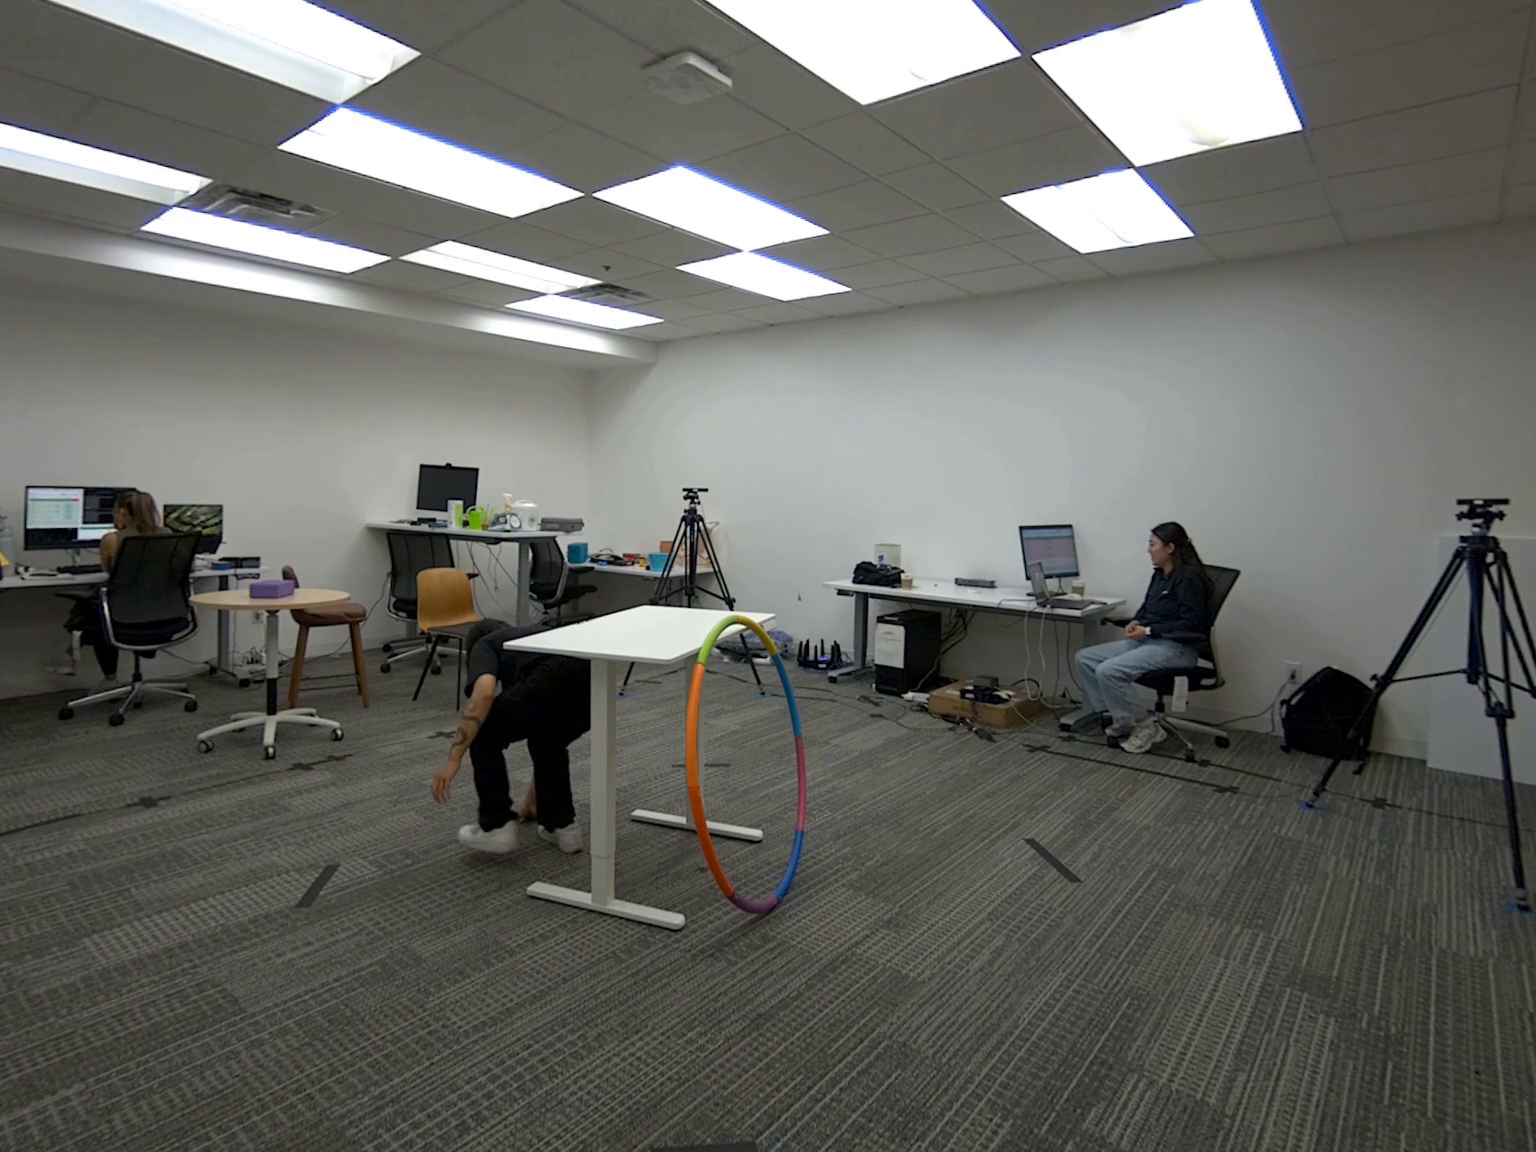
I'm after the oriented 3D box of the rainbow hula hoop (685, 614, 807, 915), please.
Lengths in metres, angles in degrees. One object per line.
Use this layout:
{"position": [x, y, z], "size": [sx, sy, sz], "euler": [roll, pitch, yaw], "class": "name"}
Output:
{"position": [-0.054, 0.621, 2.916], "size": [0.036, 0.981, 0.960], "euler": [-11, -1, 21], "class": "rainbow hula hoop"}
